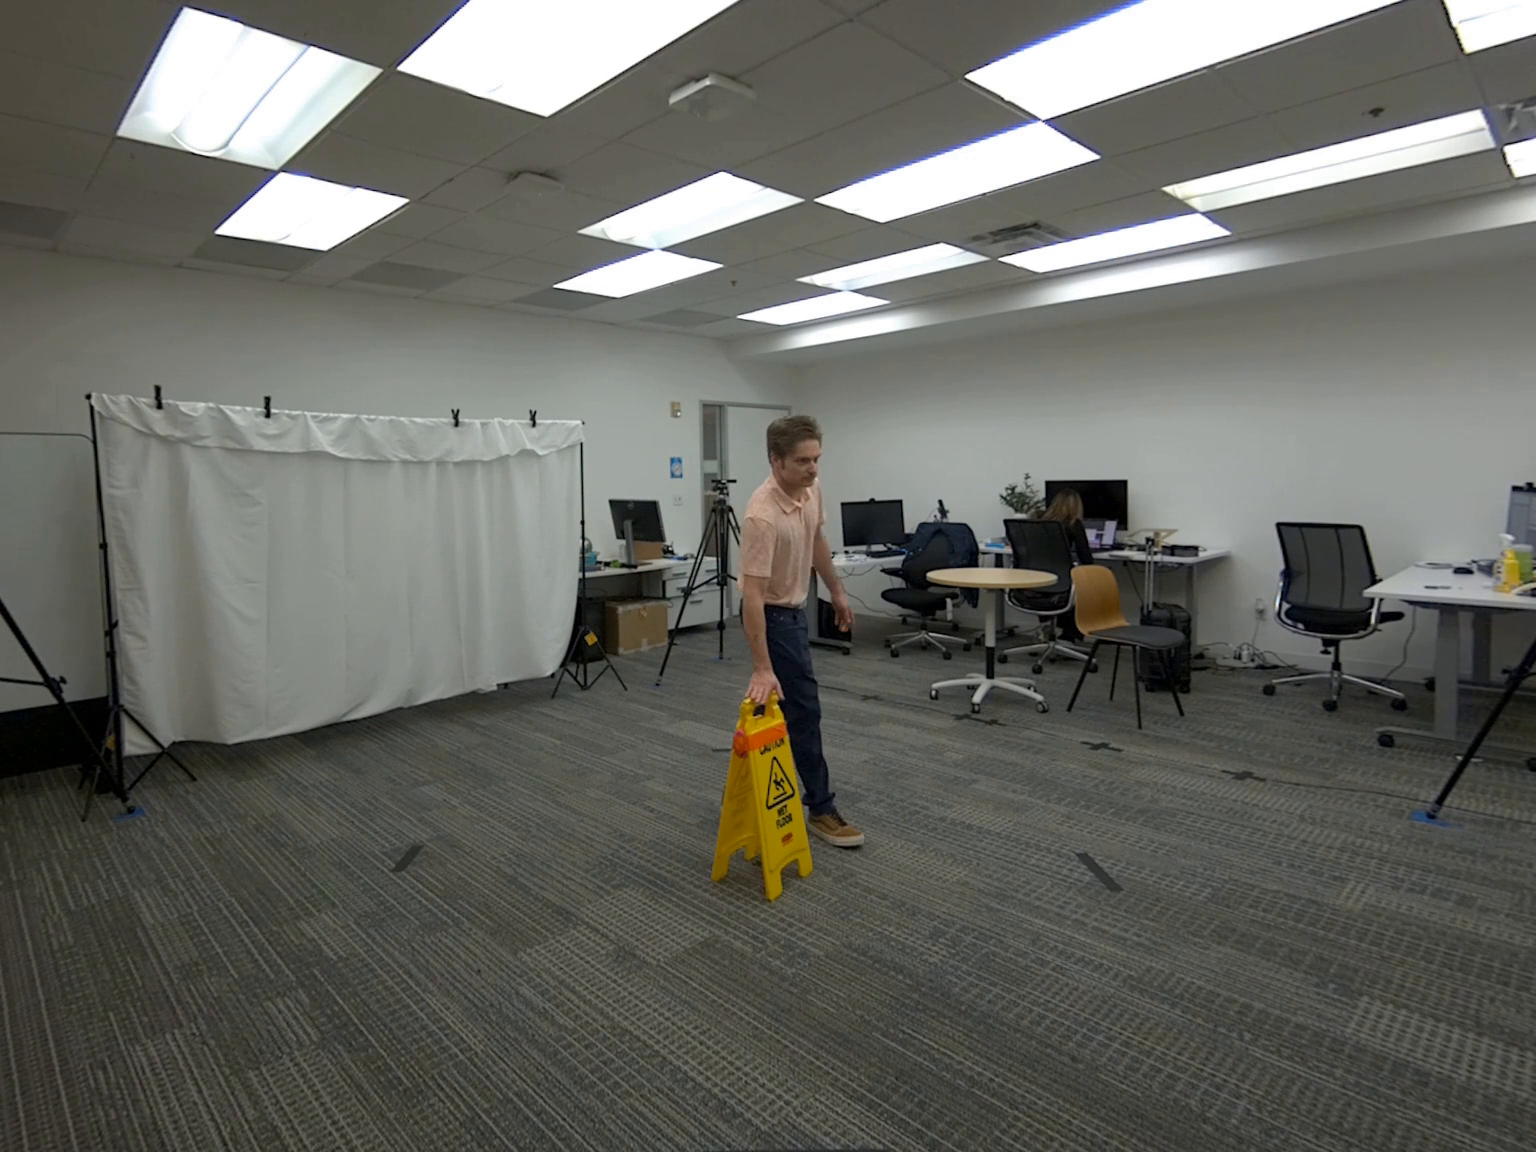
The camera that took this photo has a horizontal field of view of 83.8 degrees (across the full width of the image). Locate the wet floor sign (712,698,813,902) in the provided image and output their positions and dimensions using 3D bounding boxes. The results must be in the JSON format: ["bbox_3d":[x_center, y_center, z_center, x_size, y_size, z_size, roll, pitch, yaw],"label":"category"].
[{"bbox_3d":[-0.027,0.737,2.992,0.298,0.644,0.275,1,4,36],"label":"wet floor sign"}]
